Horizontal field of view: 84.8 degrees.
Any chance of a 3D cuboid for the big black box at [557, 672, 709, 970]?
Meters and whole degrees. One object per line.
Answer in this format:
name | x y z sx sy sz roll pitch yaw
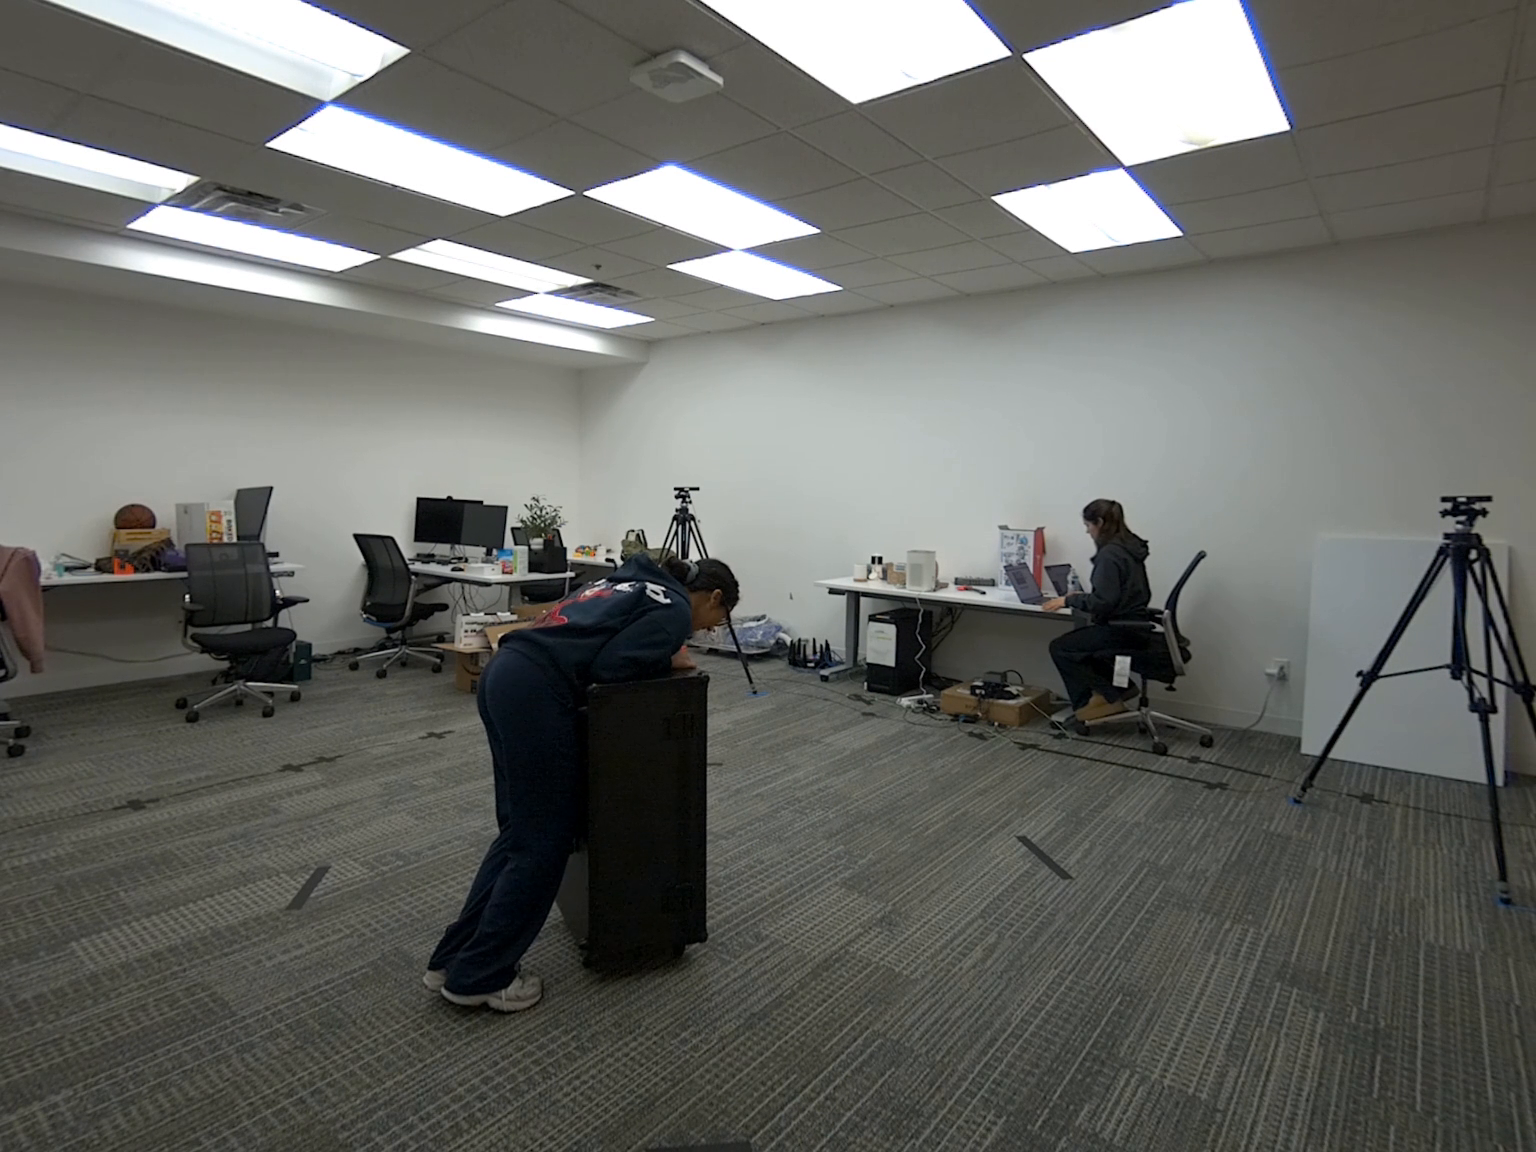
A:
big black box | -0.448 0.696 2.592 0.387 0.857 0.536 -2 6 -25
